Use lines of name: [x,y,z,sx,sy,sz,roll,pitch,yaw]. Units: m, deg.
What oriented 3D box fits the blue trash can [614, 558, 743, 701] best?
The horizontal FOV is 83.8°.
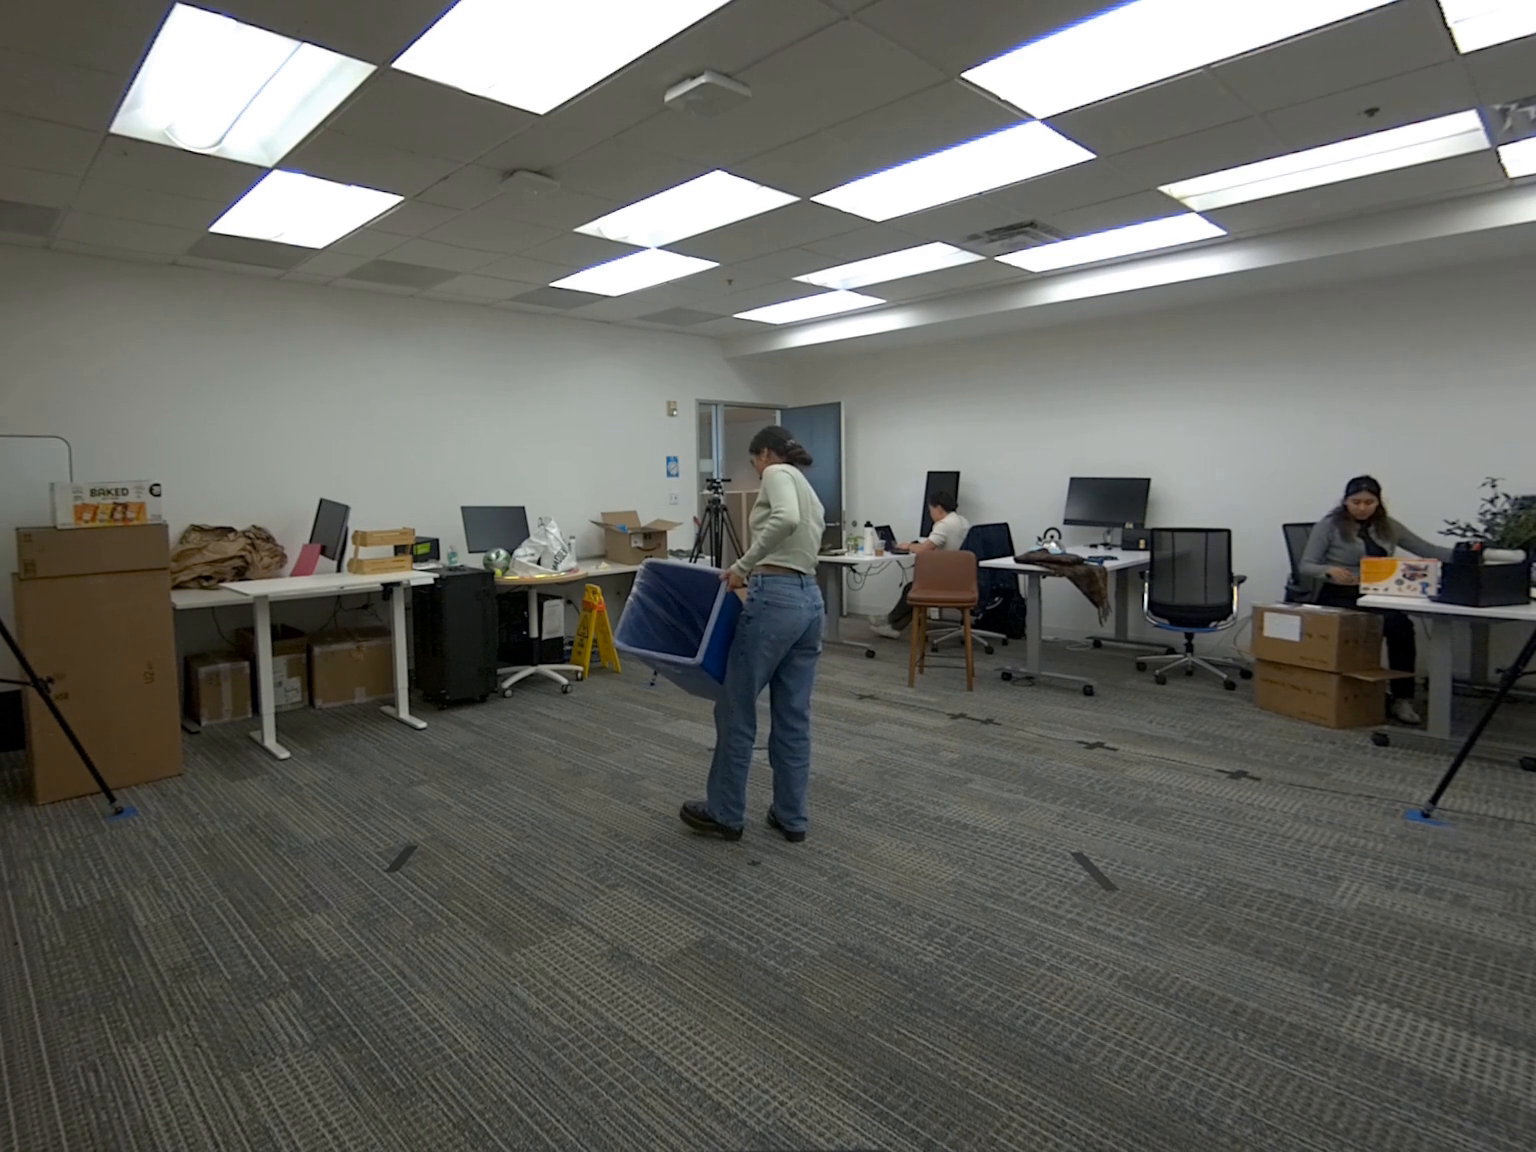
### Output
blue trash can: [-0.260,0.260,3.406,0.383,0.382,0.688,9,-22,24]
